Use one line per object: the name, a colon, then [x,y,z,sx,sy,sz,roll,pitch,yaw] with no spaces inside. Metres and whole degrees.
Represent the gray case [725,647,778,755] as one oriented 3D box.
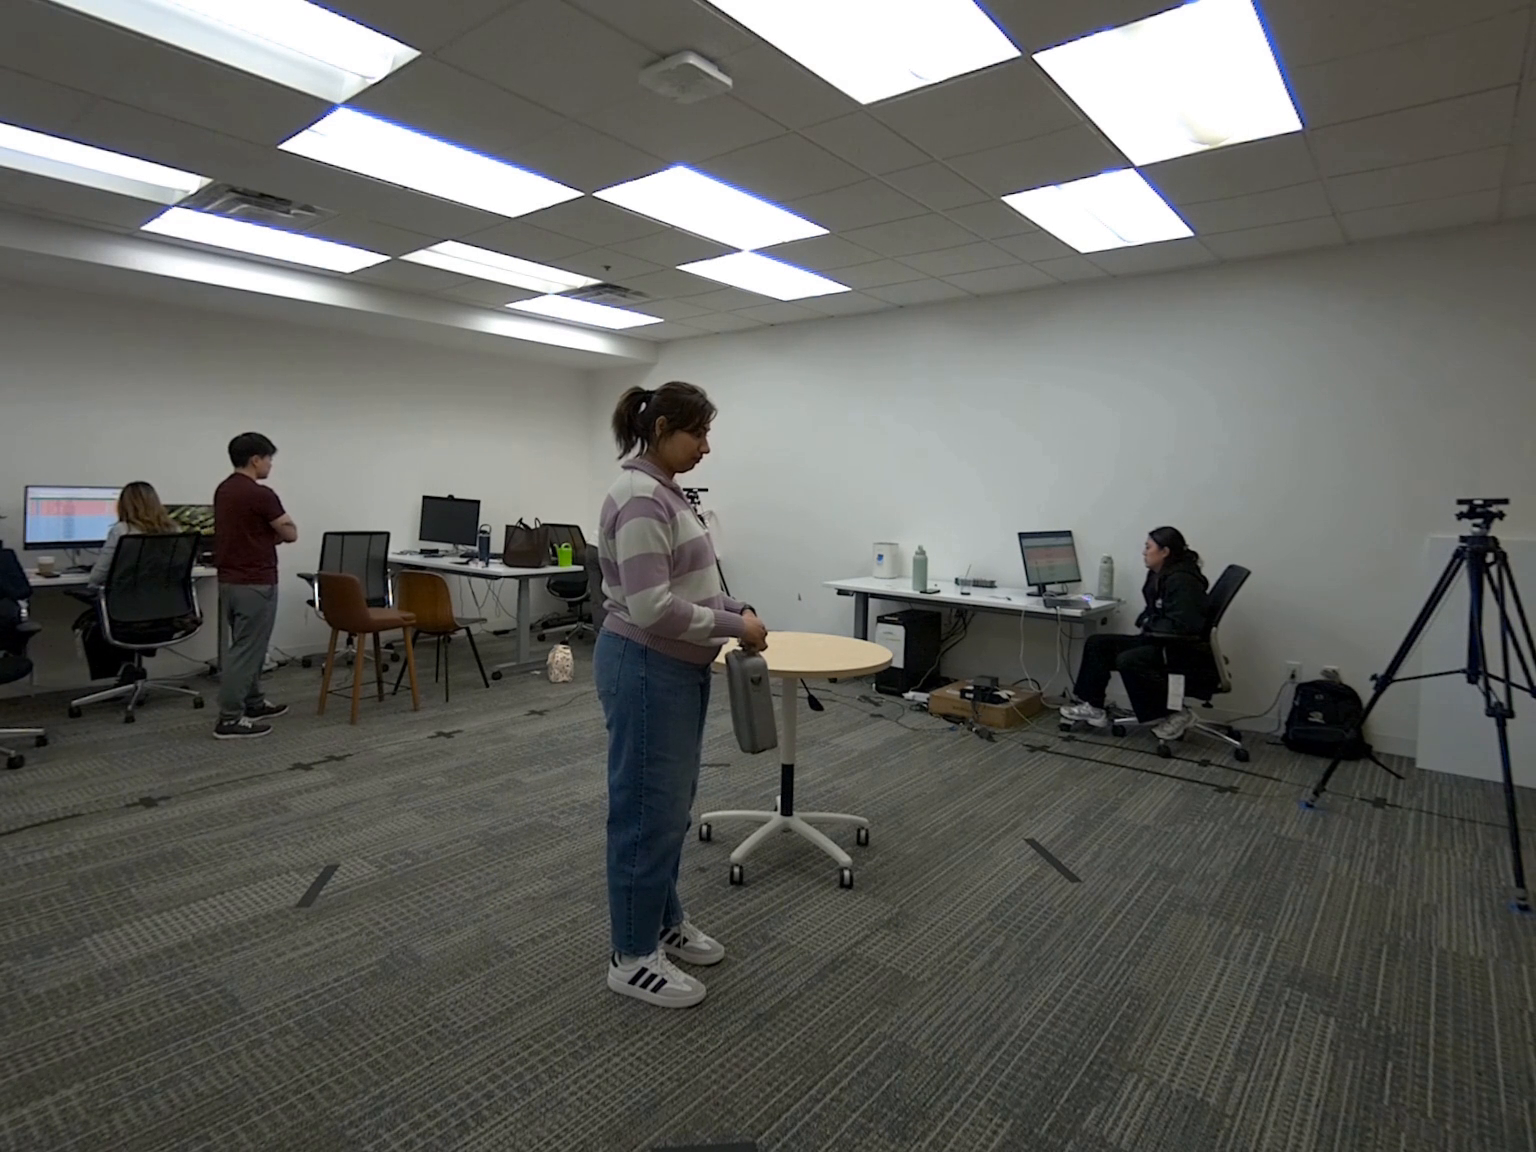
gray case: [-0.055,0.337,2.364,0.104,0.259,0.260,-7,5,-8]
